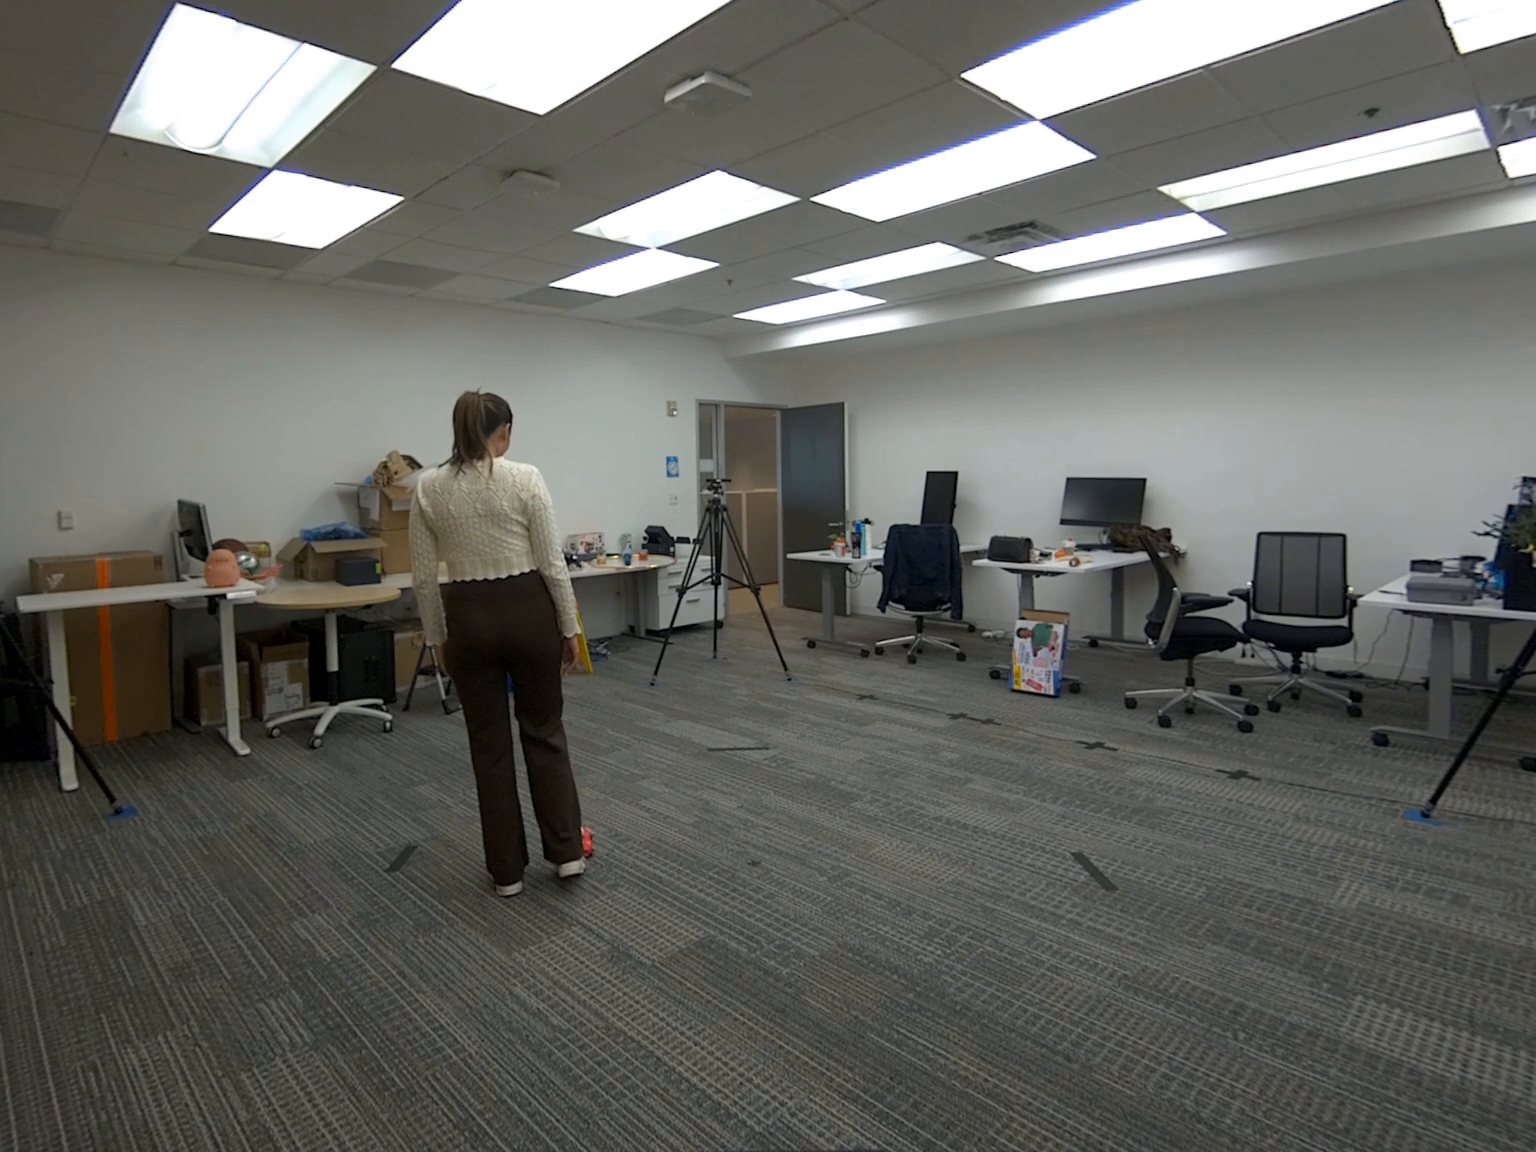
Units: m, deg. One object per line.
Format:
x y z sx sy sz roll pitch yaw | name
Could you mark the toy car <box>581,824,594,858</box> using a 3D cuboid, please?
-0.723 1.013 3.236 0.129 0.084 0.255 -1 -5 -11 | toy car
